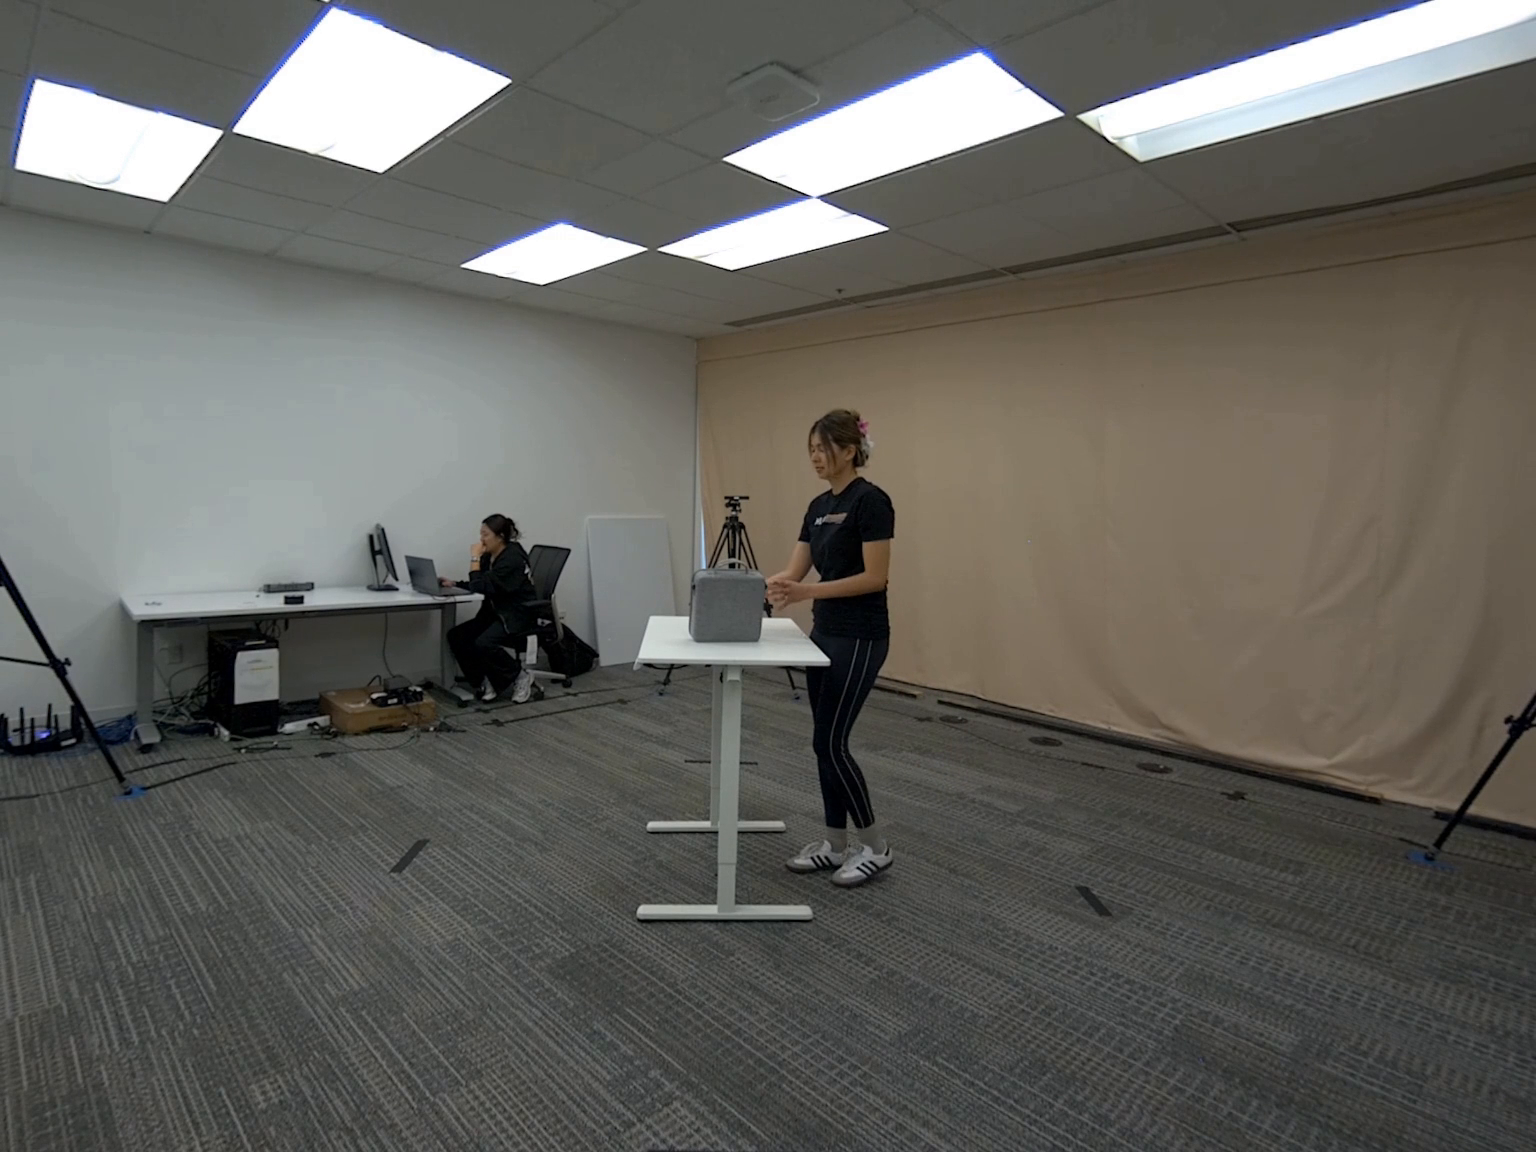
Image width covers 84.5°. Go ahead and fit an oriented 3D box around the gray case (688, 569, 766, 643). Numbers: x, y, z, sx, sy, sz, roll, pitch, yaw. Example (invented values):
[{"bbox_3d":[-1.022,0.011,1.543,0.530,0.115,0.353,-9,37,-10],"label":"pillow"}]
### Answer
[{"bbox_3d":[-0.149,0.104,2.960,0.254,0.258,0.106,0,14,-14],"label":"gray case"}]
